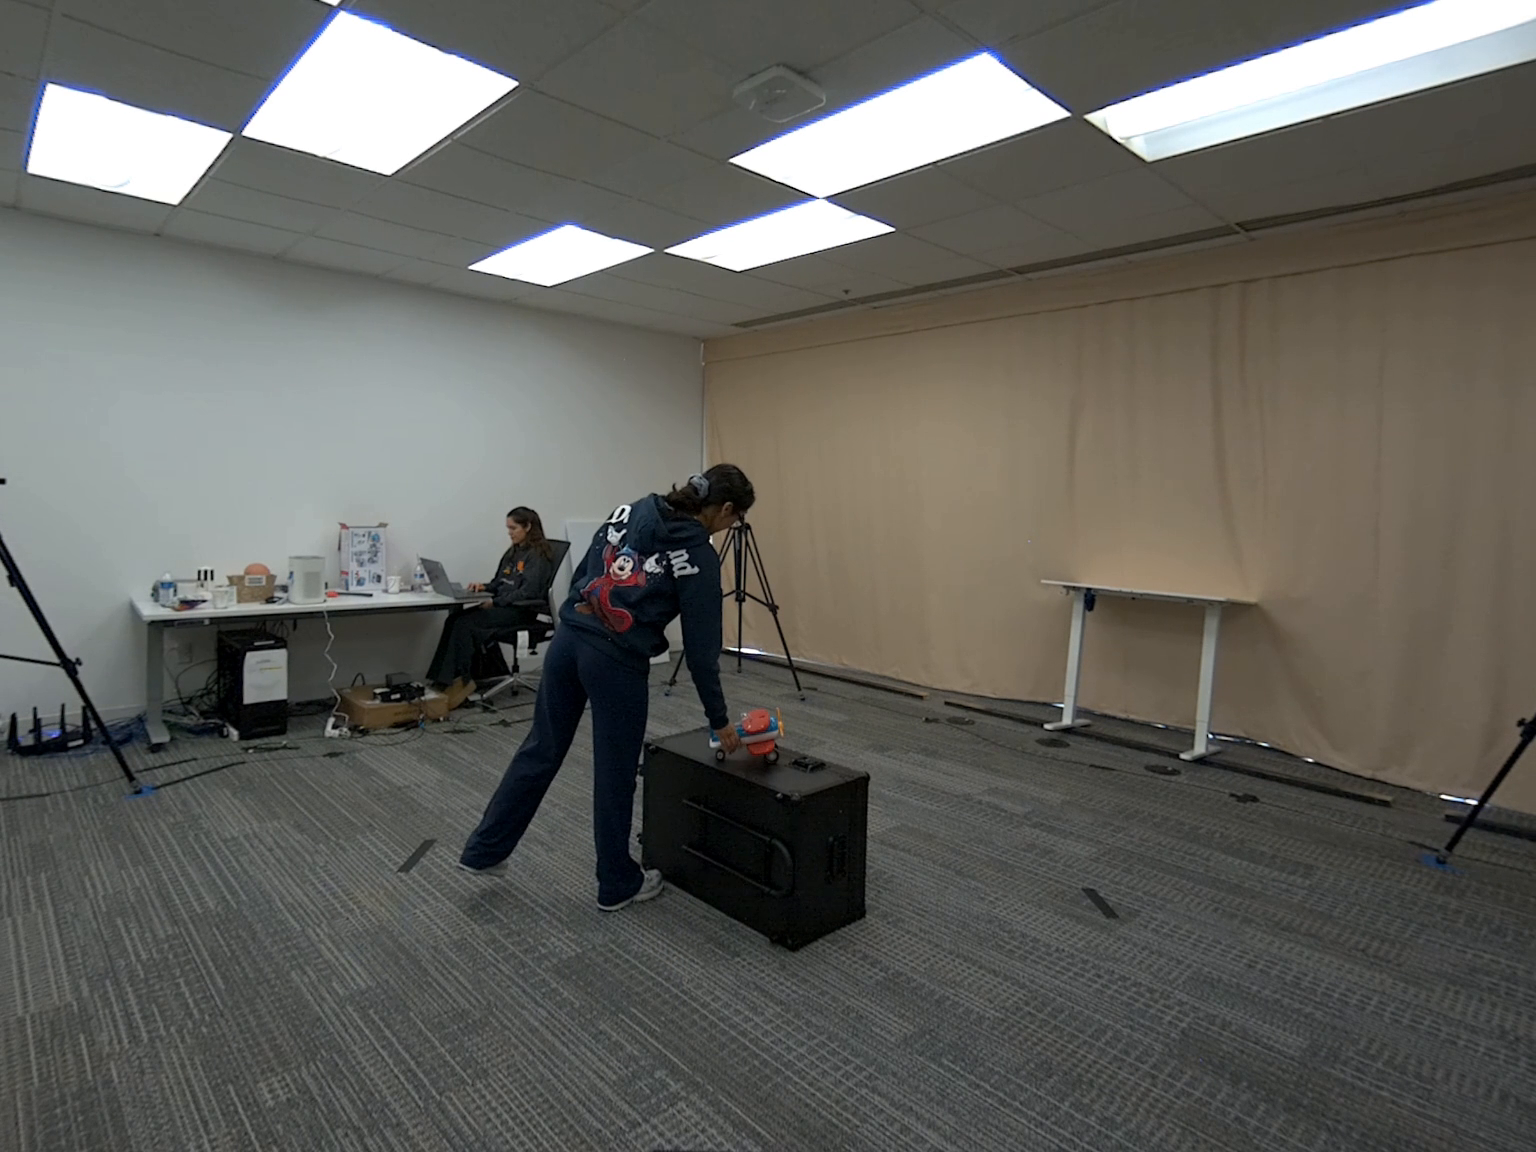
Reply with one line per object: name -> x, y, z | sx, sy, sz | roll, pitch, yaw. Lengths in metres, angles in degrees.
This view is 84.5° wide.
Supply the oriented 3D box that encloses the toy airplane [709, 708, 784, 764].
toy airplane -> -0.072, 0.566, 2.933 | 0.254, 0.156, 0.256 | -2, 6, -27
